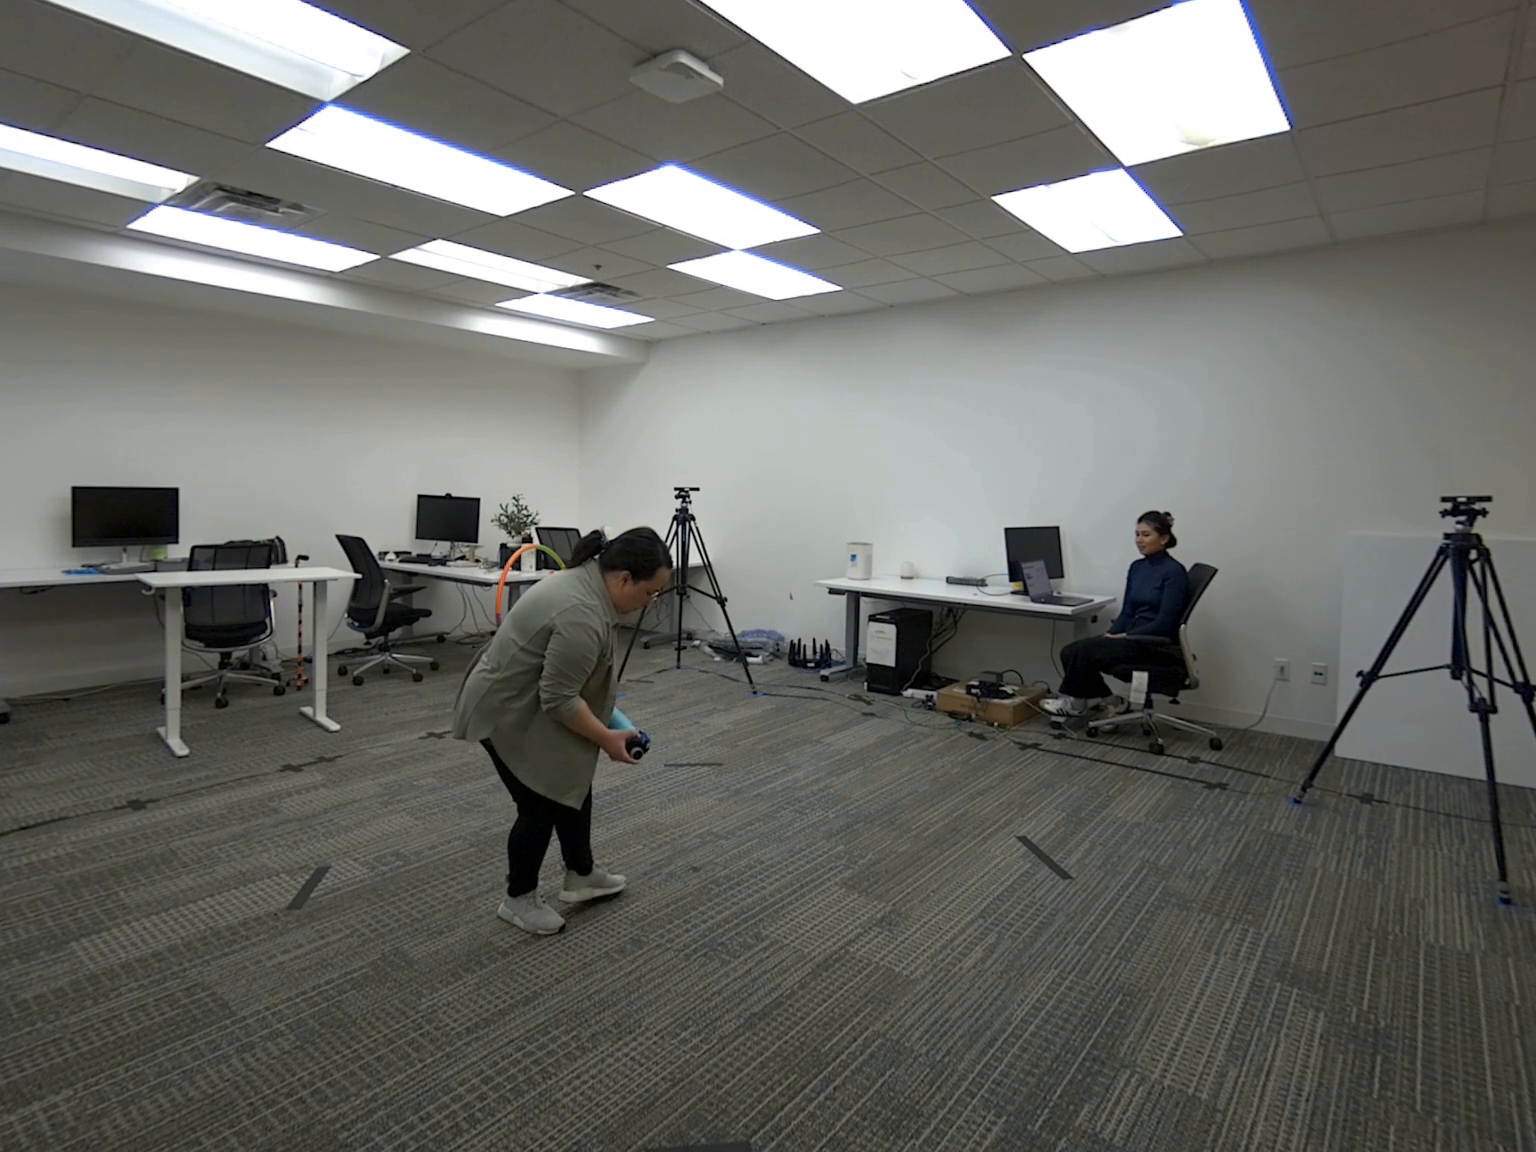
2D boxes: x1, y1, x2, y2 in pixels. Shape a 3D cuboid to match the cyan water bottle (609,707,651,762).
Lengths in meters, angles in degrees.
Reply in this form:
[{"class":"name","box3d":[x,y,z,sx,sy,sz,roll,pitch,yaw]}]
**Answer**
[{"class":"cyan water bottle","box3d":[-0.474,0.494,2.683,0.090,0.091,0.295,-2,17,-35]}]
